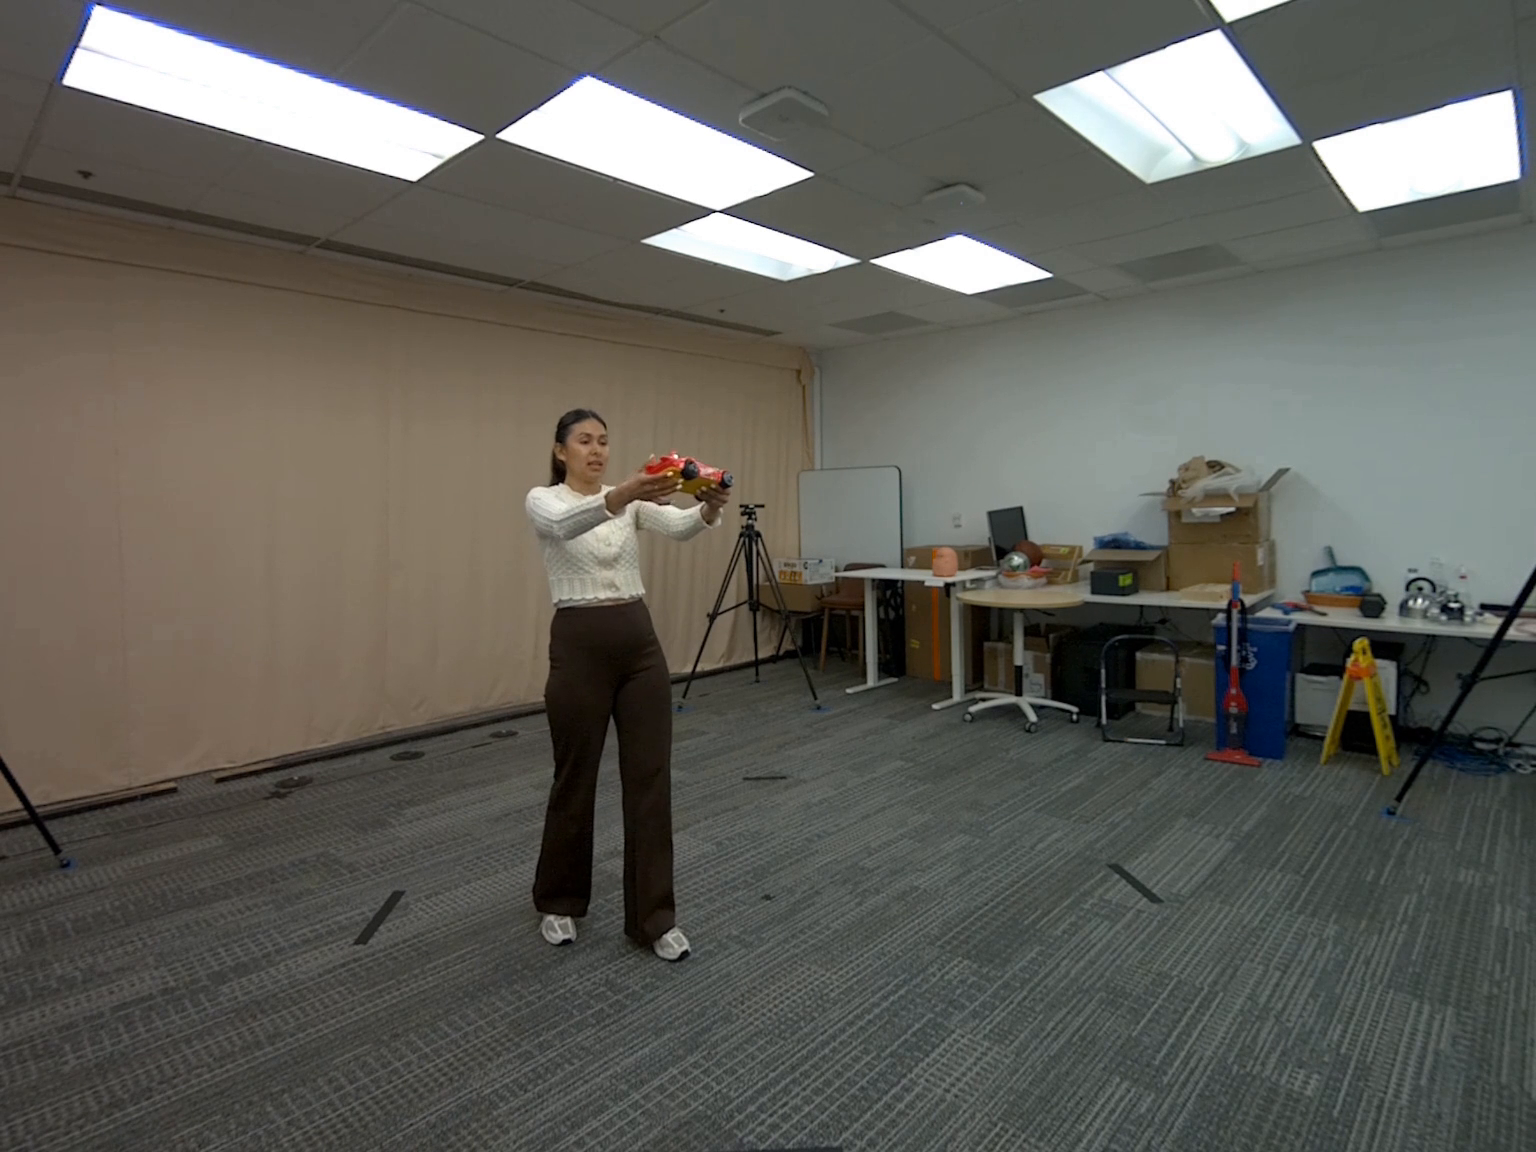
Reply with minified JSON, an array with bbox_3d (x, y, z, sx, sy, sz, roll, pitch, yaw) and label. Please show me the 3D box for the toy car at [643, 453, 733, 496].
[{"bbox_3d":[-0.204,-0.255,2.194,0.133,0.084,0.245,-23,-30,34],"label":"toy car"}]
